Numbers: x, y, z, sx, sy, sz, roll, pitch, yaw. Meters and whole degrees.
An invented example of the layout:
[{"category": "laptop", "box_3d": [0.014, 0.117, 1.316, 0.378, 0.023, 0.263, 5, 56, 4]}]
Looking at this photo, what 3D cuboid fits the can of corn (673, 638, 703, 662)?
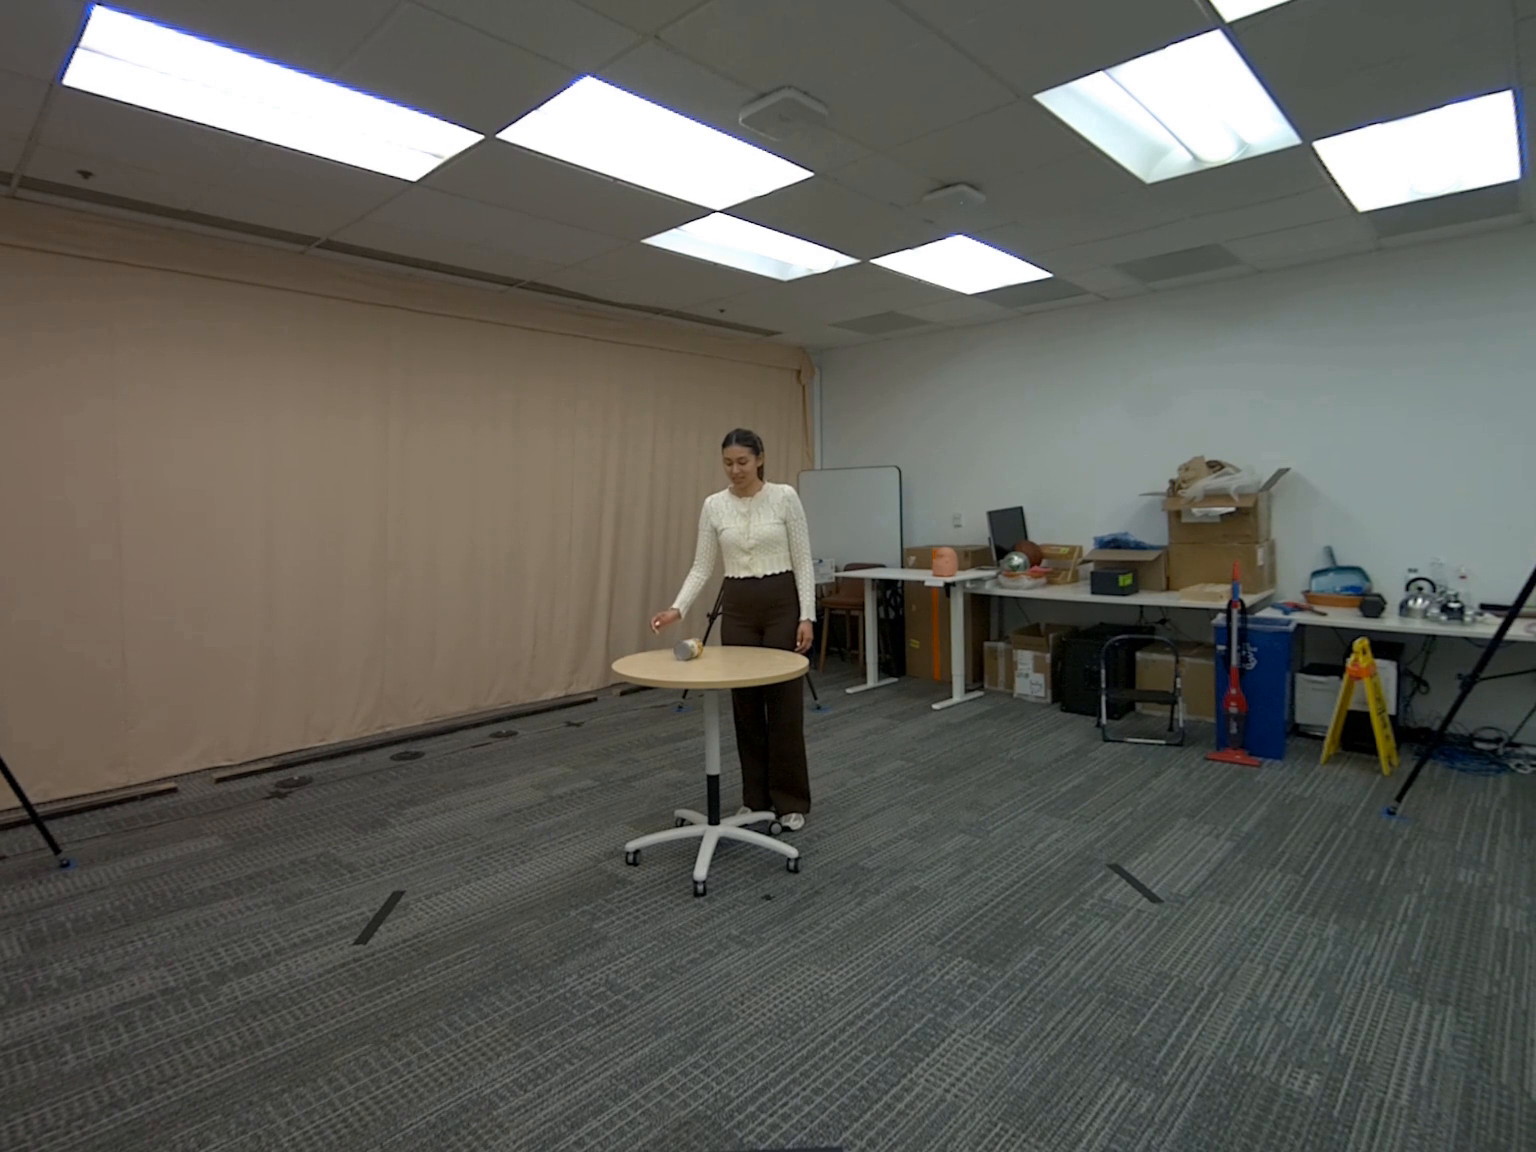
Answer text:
[{"category": "can of corn", "box_3d": [-0.324, 0.293, 3.365, 0.075, 0.074, 0.109, 0, 4, 15]}]
